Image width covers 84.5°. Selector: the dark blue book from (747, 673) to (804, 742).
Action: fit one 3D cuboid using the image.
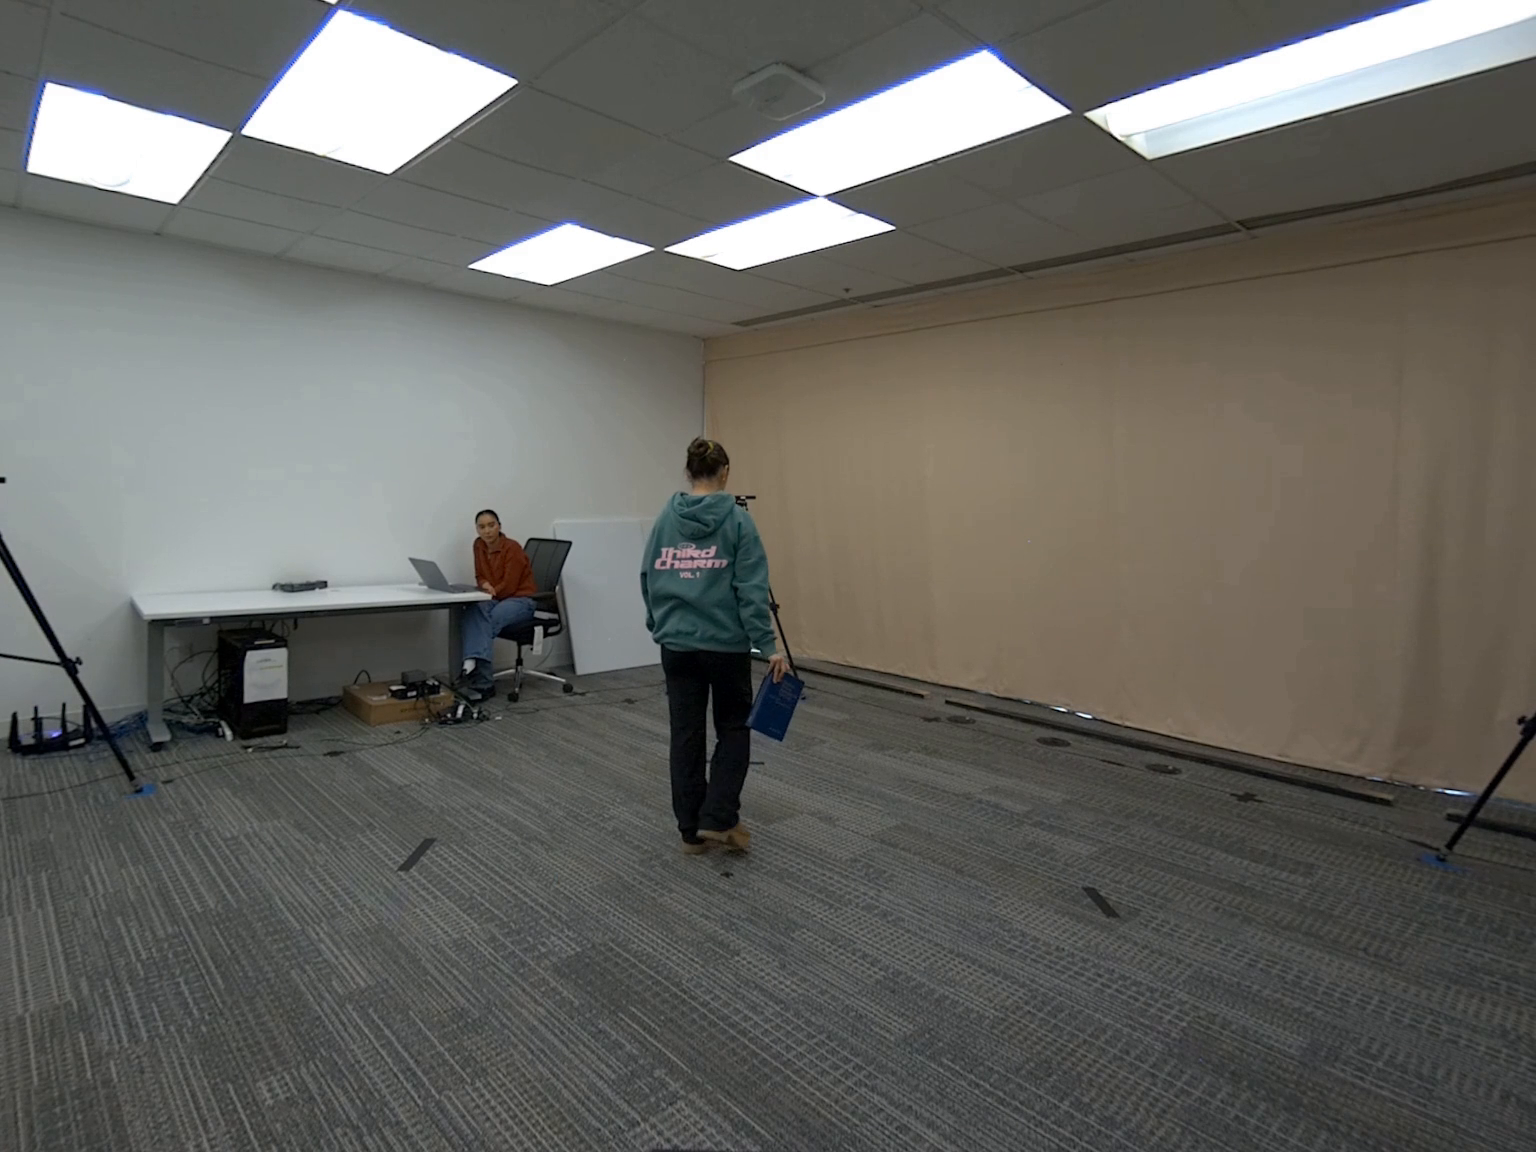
[{"bbox_3d":[0.026,0.481,3.186,0.159,0.246,0.046,30,-14,-29],"label":"dark blue book"}]
